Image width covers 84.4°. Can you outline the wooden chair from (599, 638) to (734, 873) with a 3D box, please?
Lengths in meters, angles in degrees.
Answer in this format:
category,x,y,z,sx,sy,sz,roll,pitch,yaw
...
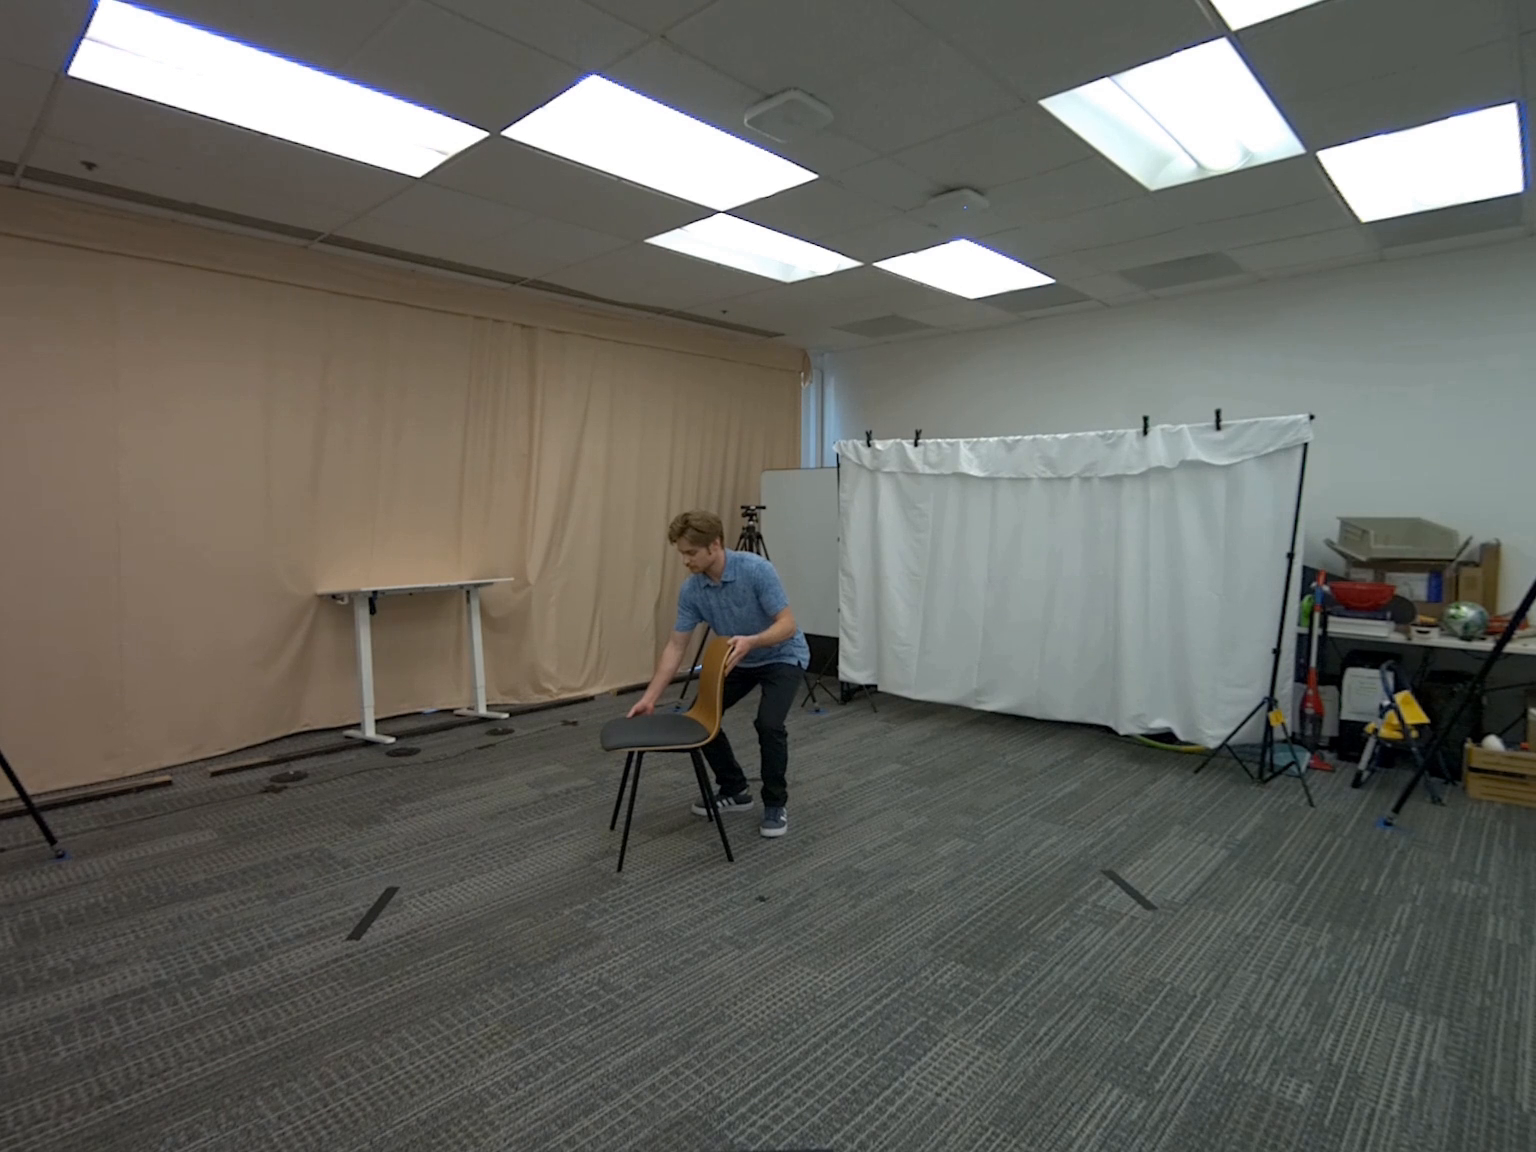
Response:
category,x,y,z,sx,sy,sz,roll,pitch,yaw
wooden chair,-0.420,0.679,3.426,0.516,0.876,0.486,3,3,-14
